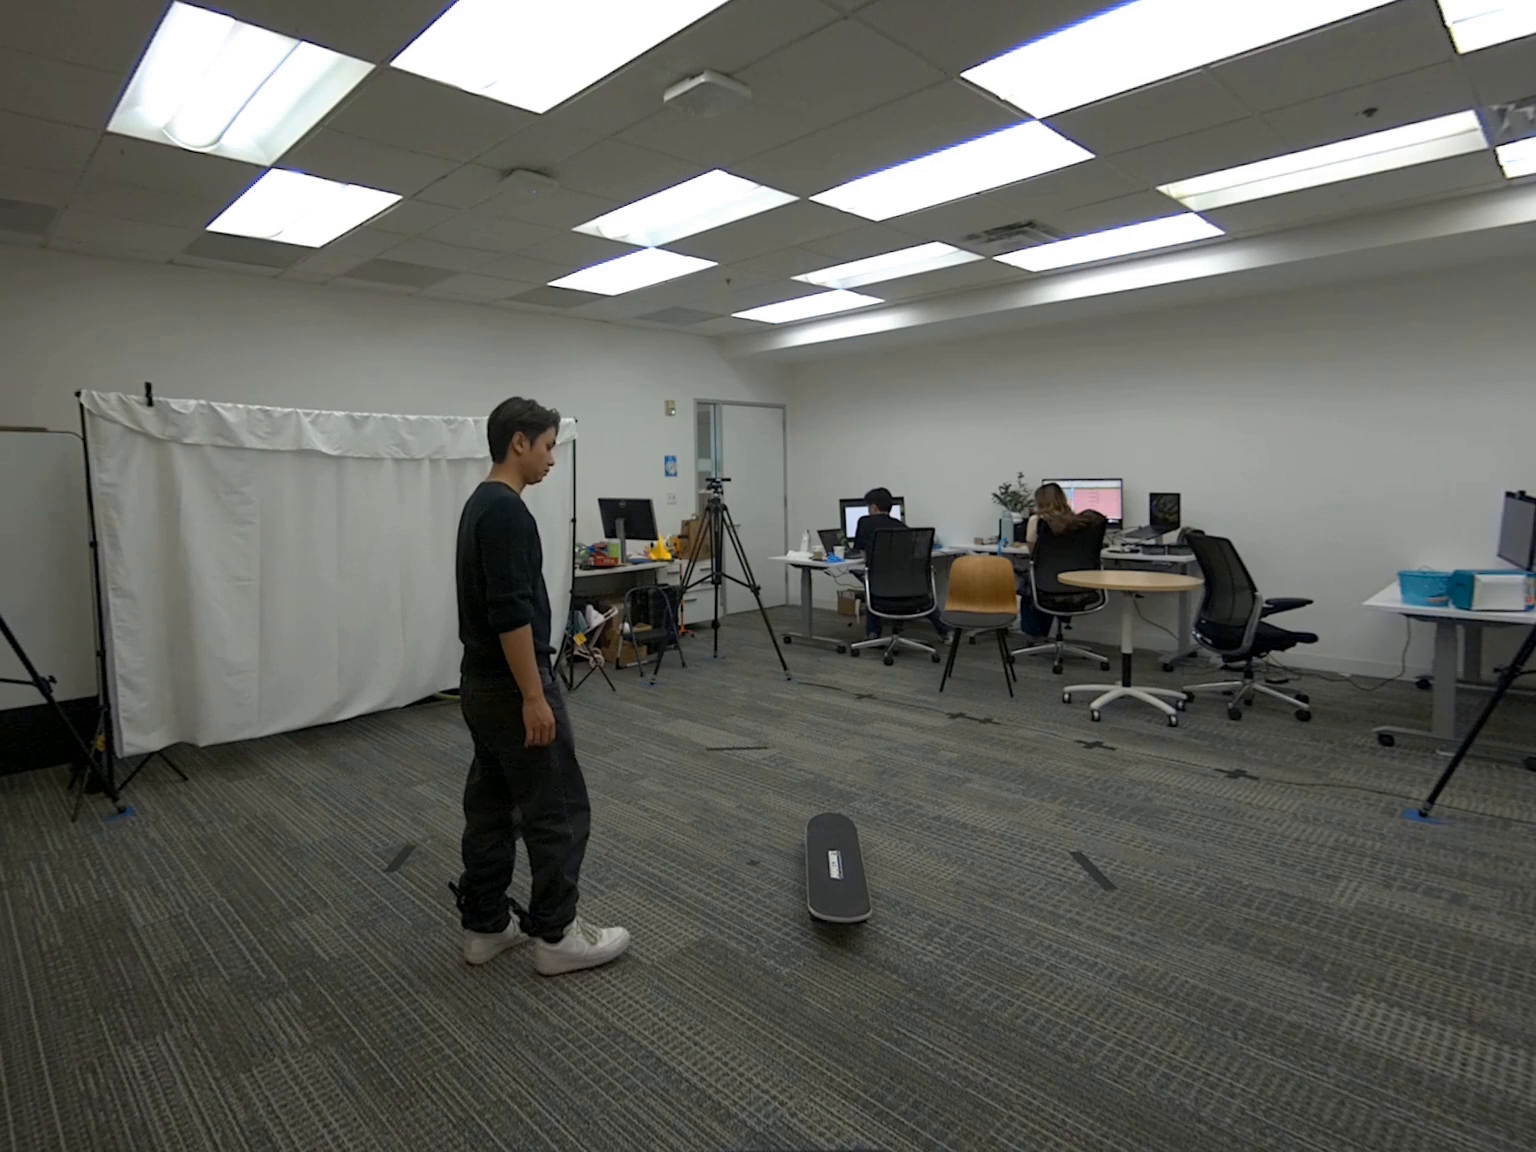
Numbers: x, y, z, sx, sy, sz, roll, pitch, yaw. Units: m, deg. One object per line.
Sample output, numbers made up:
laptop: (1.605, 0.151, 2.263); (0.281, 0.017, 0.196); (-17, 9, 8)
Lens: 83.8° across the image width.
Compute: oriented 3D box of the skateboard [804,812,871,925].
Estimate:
skateboard: (0.236, 1.006, 2.892); (0.194, 0.110, 0.787); (0, 7, 1)
